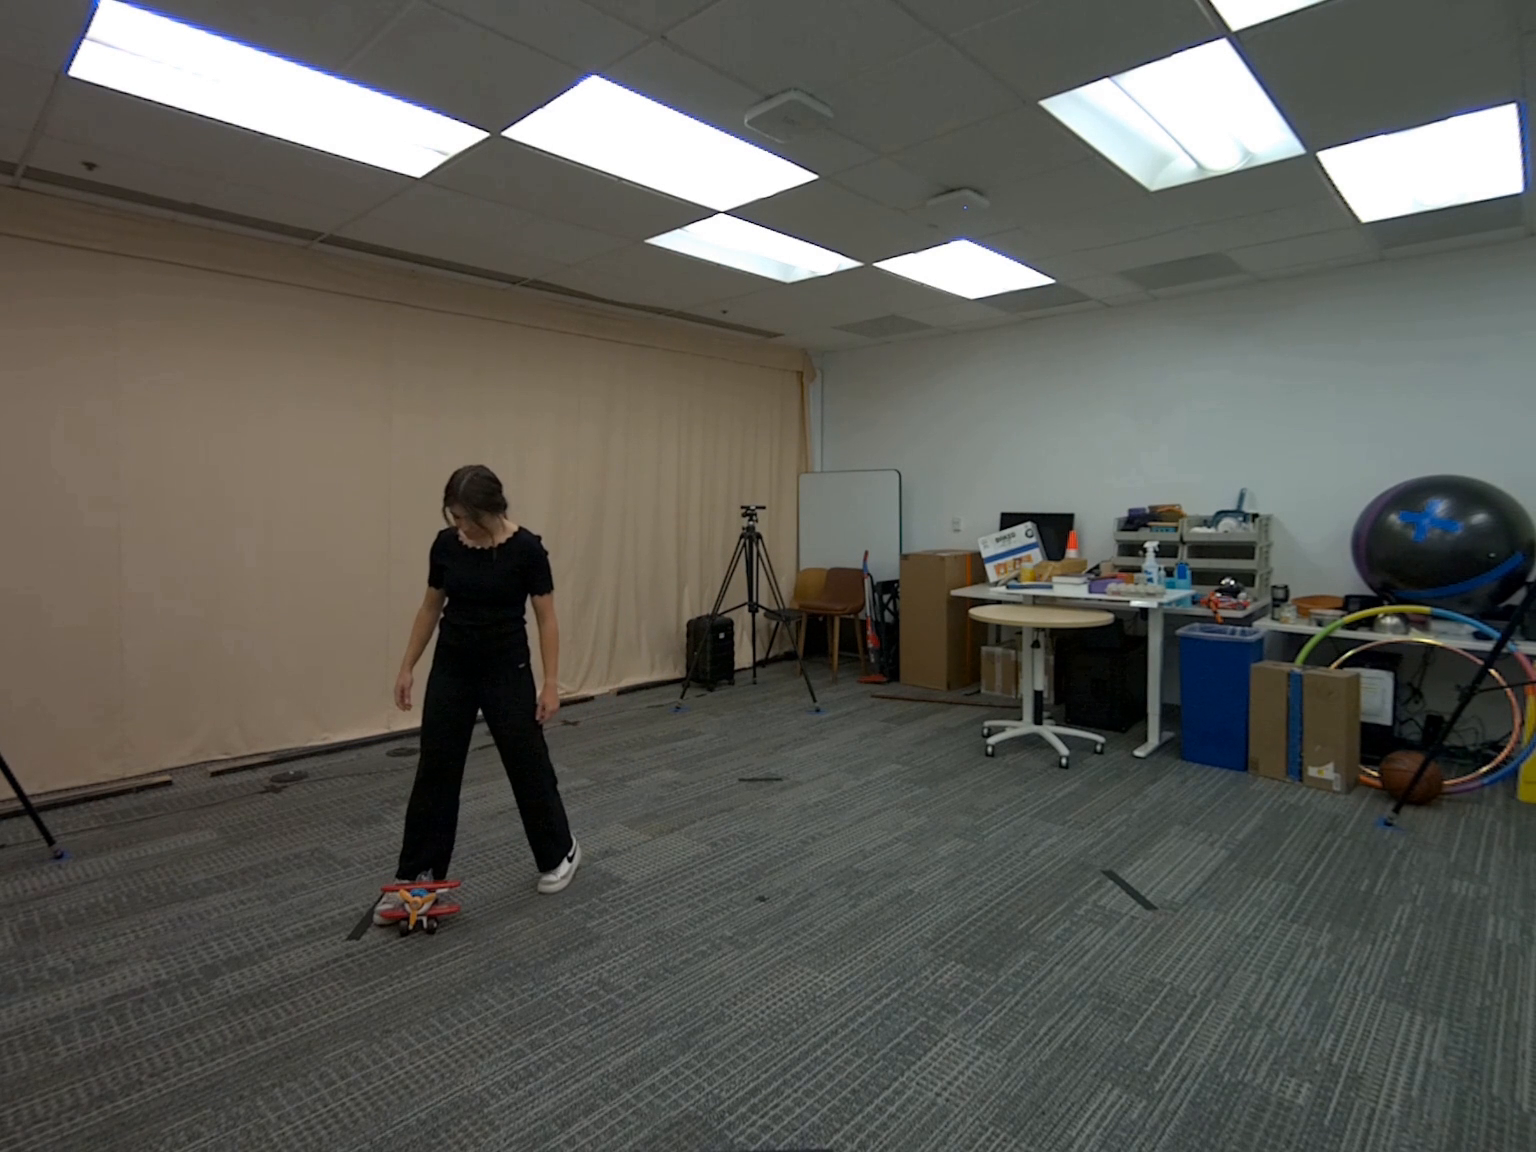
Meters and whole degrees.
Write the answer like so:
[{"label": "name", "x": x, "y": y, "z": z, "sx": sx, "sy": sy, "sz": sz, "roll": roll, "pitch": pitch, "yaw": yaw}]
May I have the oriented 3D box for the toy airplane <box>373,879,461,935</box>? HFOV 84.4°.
[{"label": "toy airplane", "x": -1.179, "y": 1.091, "z": 2.831, "sx": 0.244, "sy": 0.156, "sz": 0.268, "roll": -4, "pitch": 6, "yaw": -37}]
